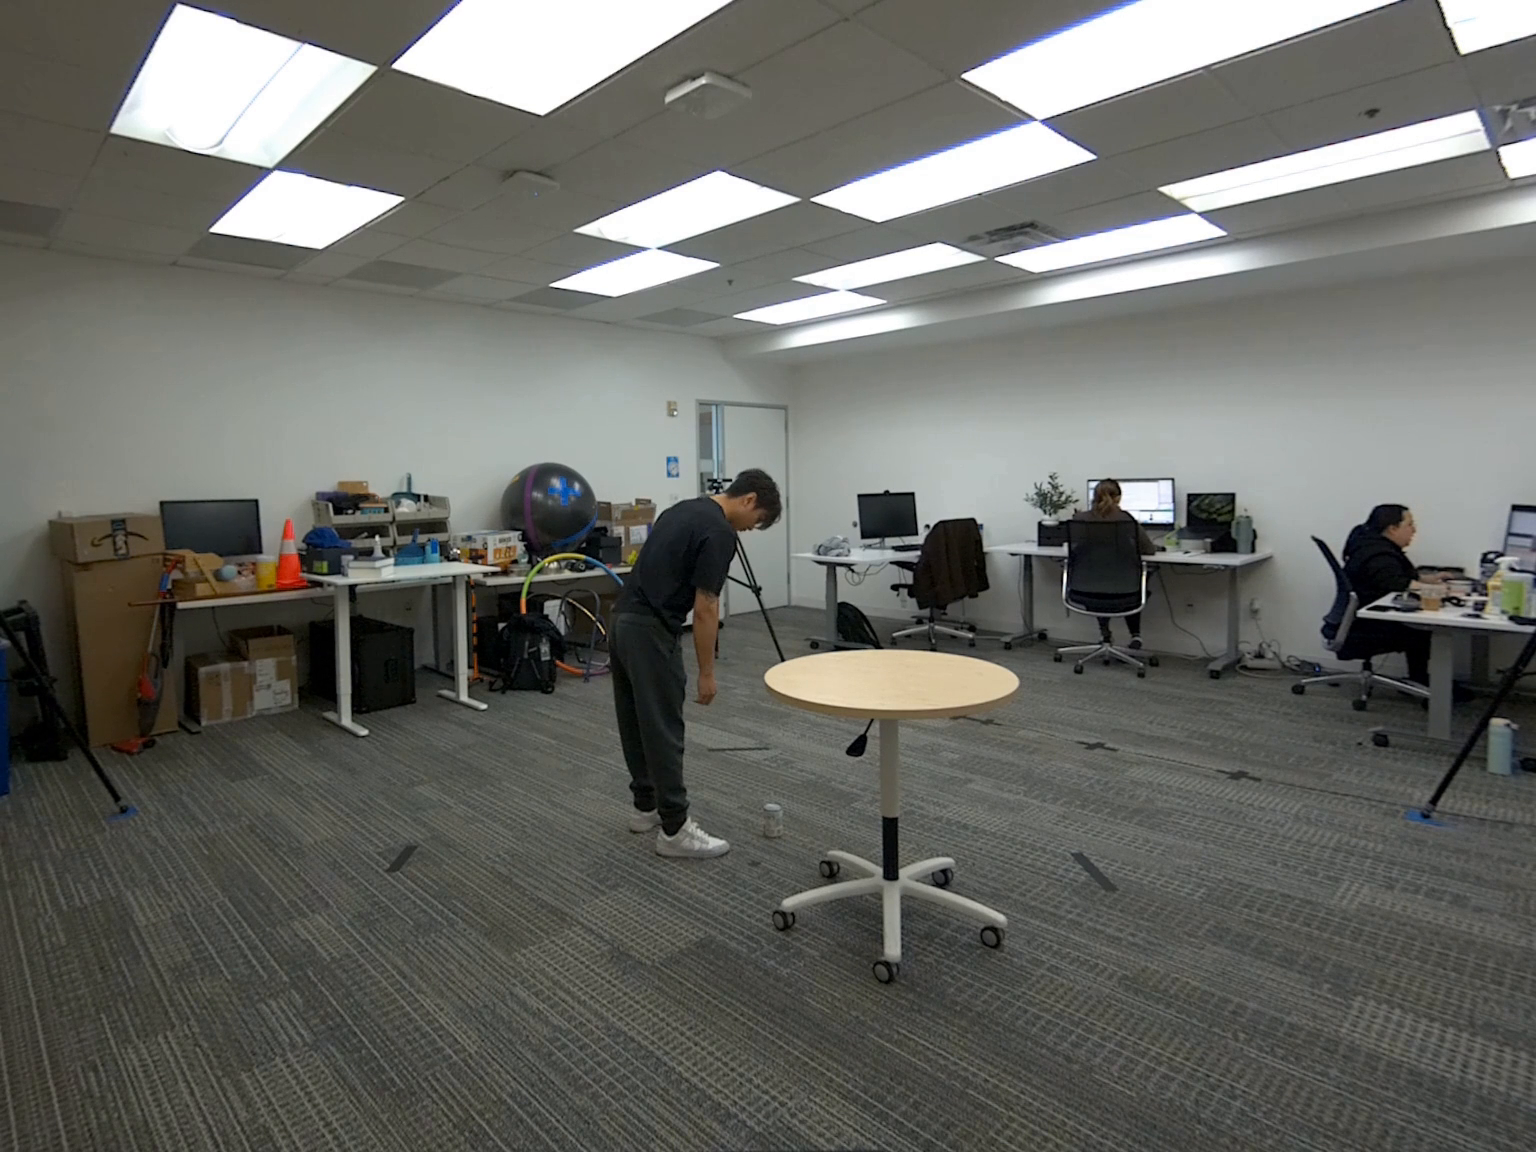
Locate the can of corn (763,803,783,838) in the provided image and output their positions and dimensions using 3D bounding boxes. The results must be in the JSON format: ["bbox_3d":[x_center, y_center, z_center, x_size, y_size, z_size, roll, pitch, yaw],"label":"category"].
[{"bbox_3d":[0.023,0.957,3.346,0.074,0.111,0.074,-2,4,-2],"label":"can of corn"}]
